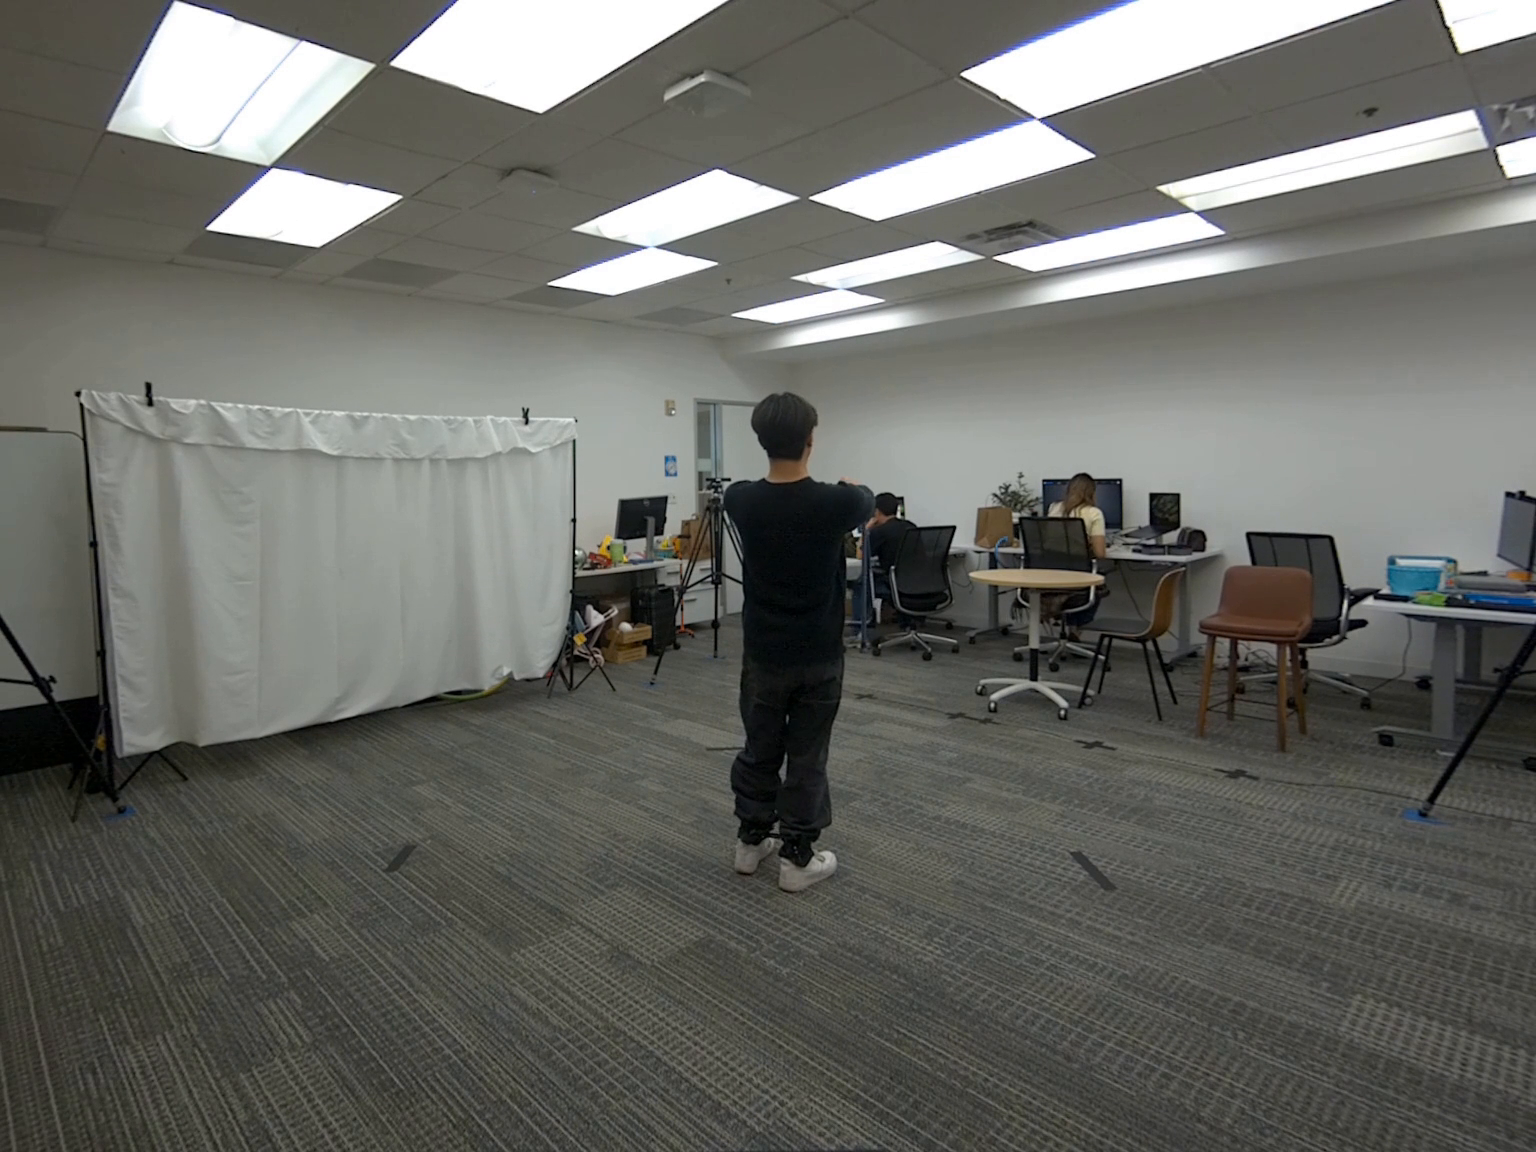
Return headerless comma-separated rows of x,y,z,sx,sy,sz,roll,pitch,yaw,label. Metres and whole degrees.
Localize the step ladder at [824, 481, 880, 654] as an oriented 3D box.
0.189,-0.049,3.347,0.437,0.601,0.347,0,9,16,step ladder
